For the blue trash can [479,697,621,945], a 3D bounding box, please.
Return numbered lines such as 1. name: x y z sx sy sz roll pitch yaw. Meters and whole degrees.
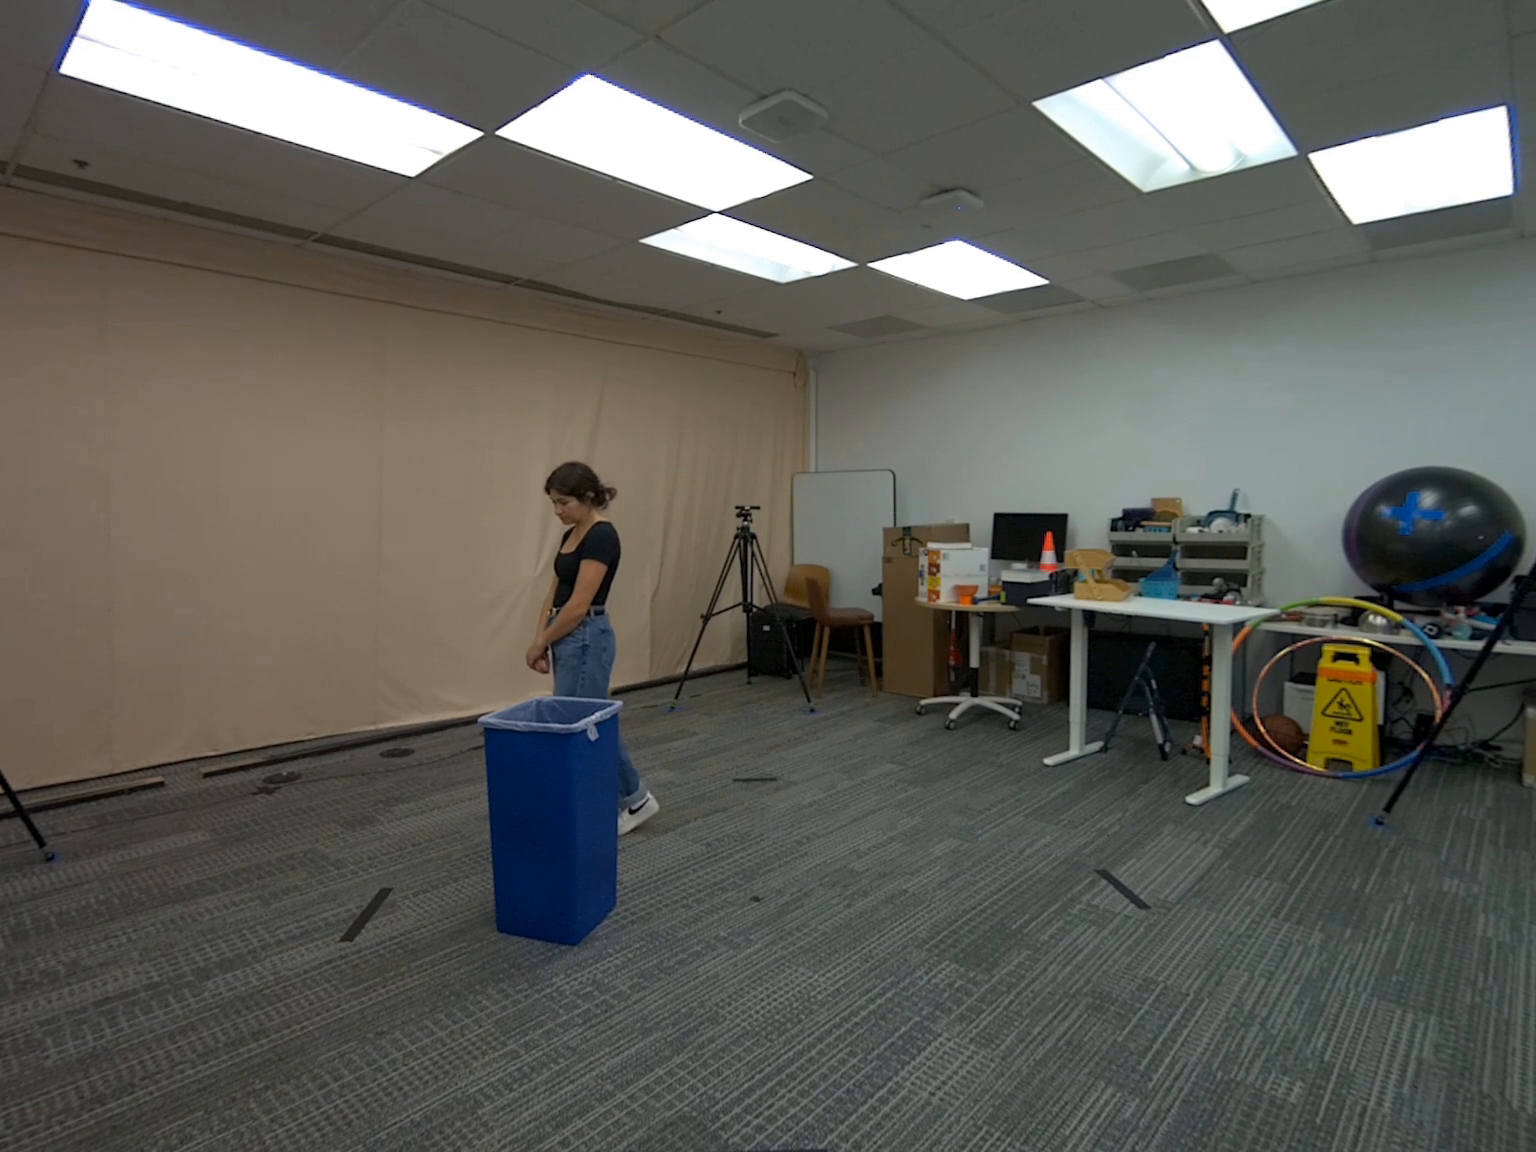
1. blue trash can: -0.723 0.806 2.838 0.381 0.712 0.371 1 3 18
